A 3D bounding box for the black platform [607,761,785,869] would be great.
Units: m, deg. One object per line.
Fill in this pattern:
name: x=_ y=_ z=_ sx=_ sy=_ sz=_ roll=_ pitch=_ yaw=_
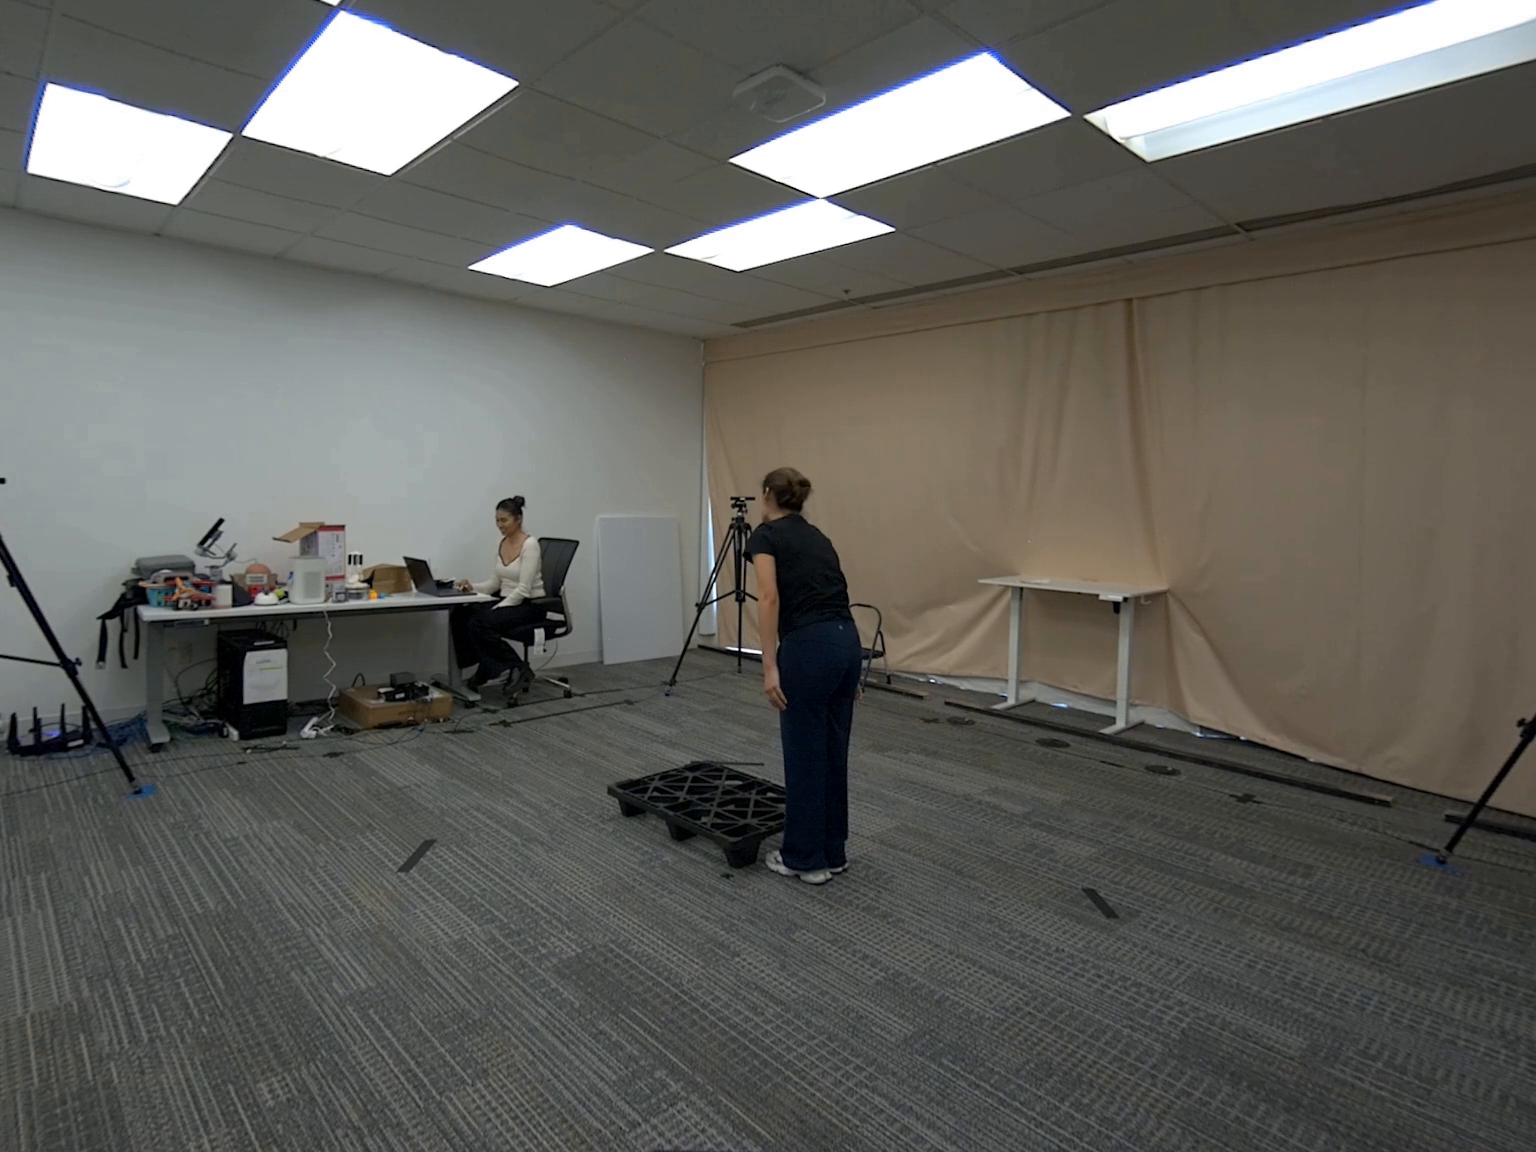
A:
black platform: x=-0.221 y=1.001 z=3.562 sx=0.591 sy=0.143 sz=0.826 roll=-5 pitch=7 yaw=-45
